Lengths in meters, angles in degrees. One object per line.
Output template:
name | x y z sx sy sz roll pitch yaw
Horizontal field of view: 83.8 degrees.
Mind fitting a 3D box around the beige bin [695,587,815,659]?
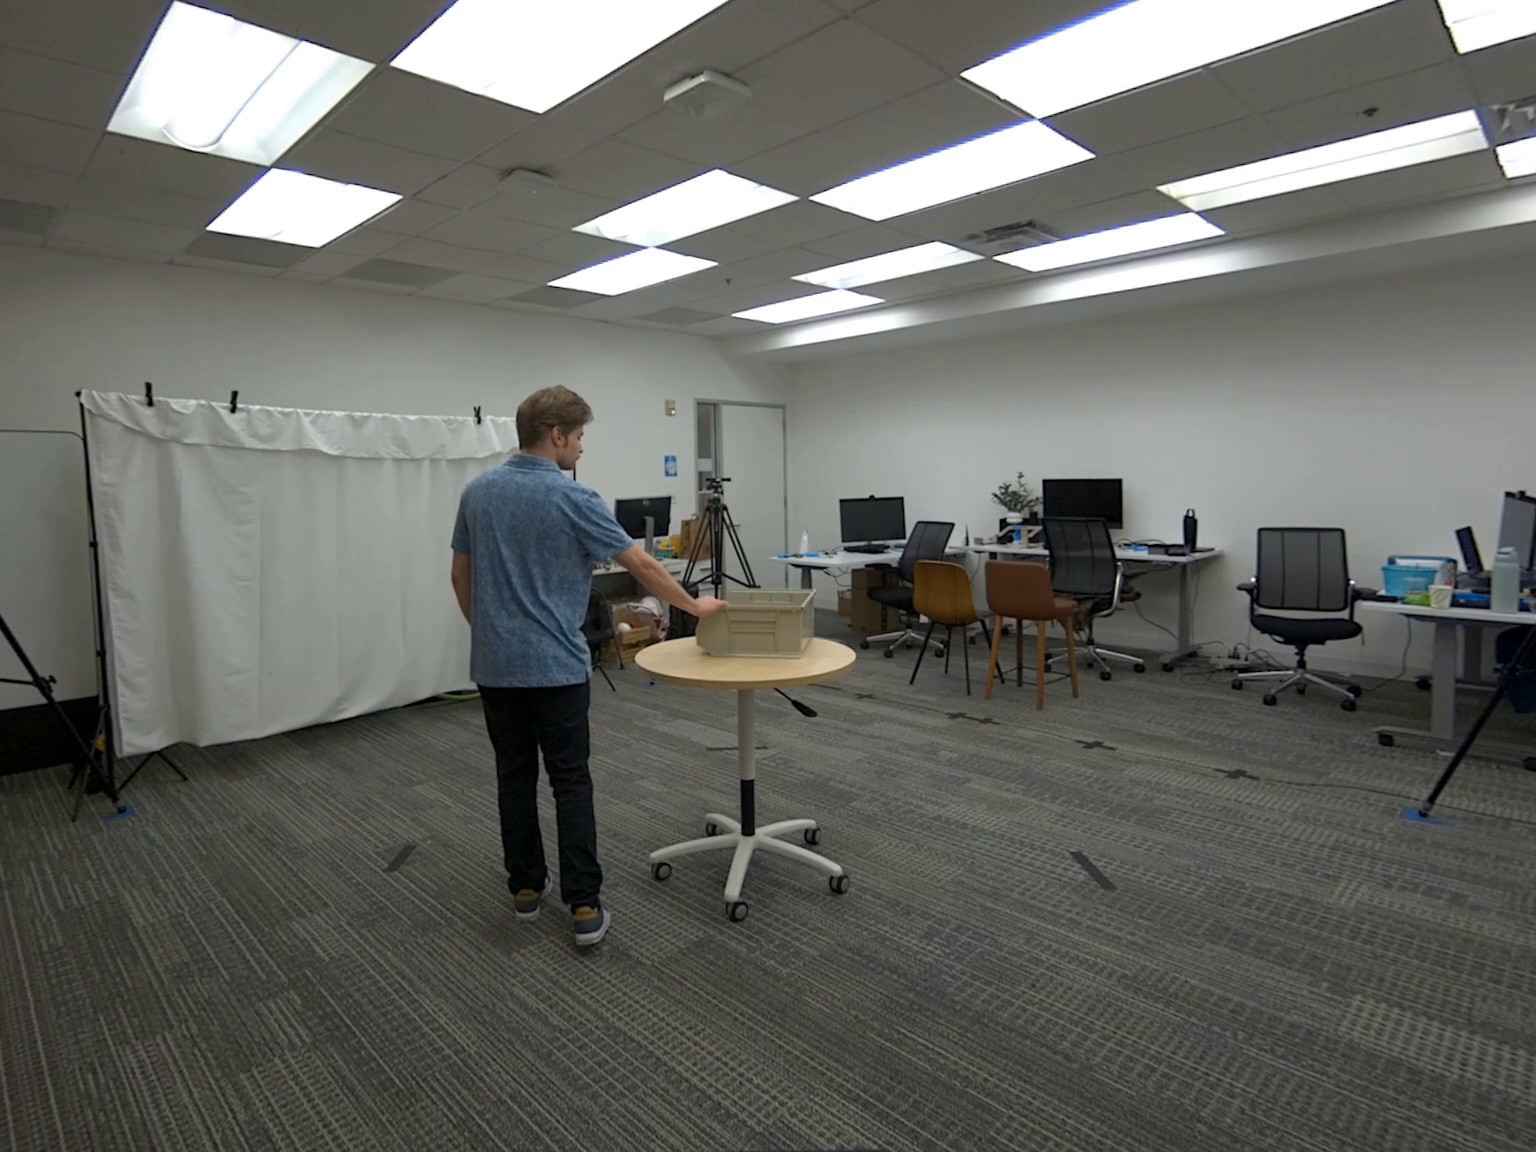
beige bin | -0.037 0.160 3.116 0.381 0.188 0.420 3 6 9
